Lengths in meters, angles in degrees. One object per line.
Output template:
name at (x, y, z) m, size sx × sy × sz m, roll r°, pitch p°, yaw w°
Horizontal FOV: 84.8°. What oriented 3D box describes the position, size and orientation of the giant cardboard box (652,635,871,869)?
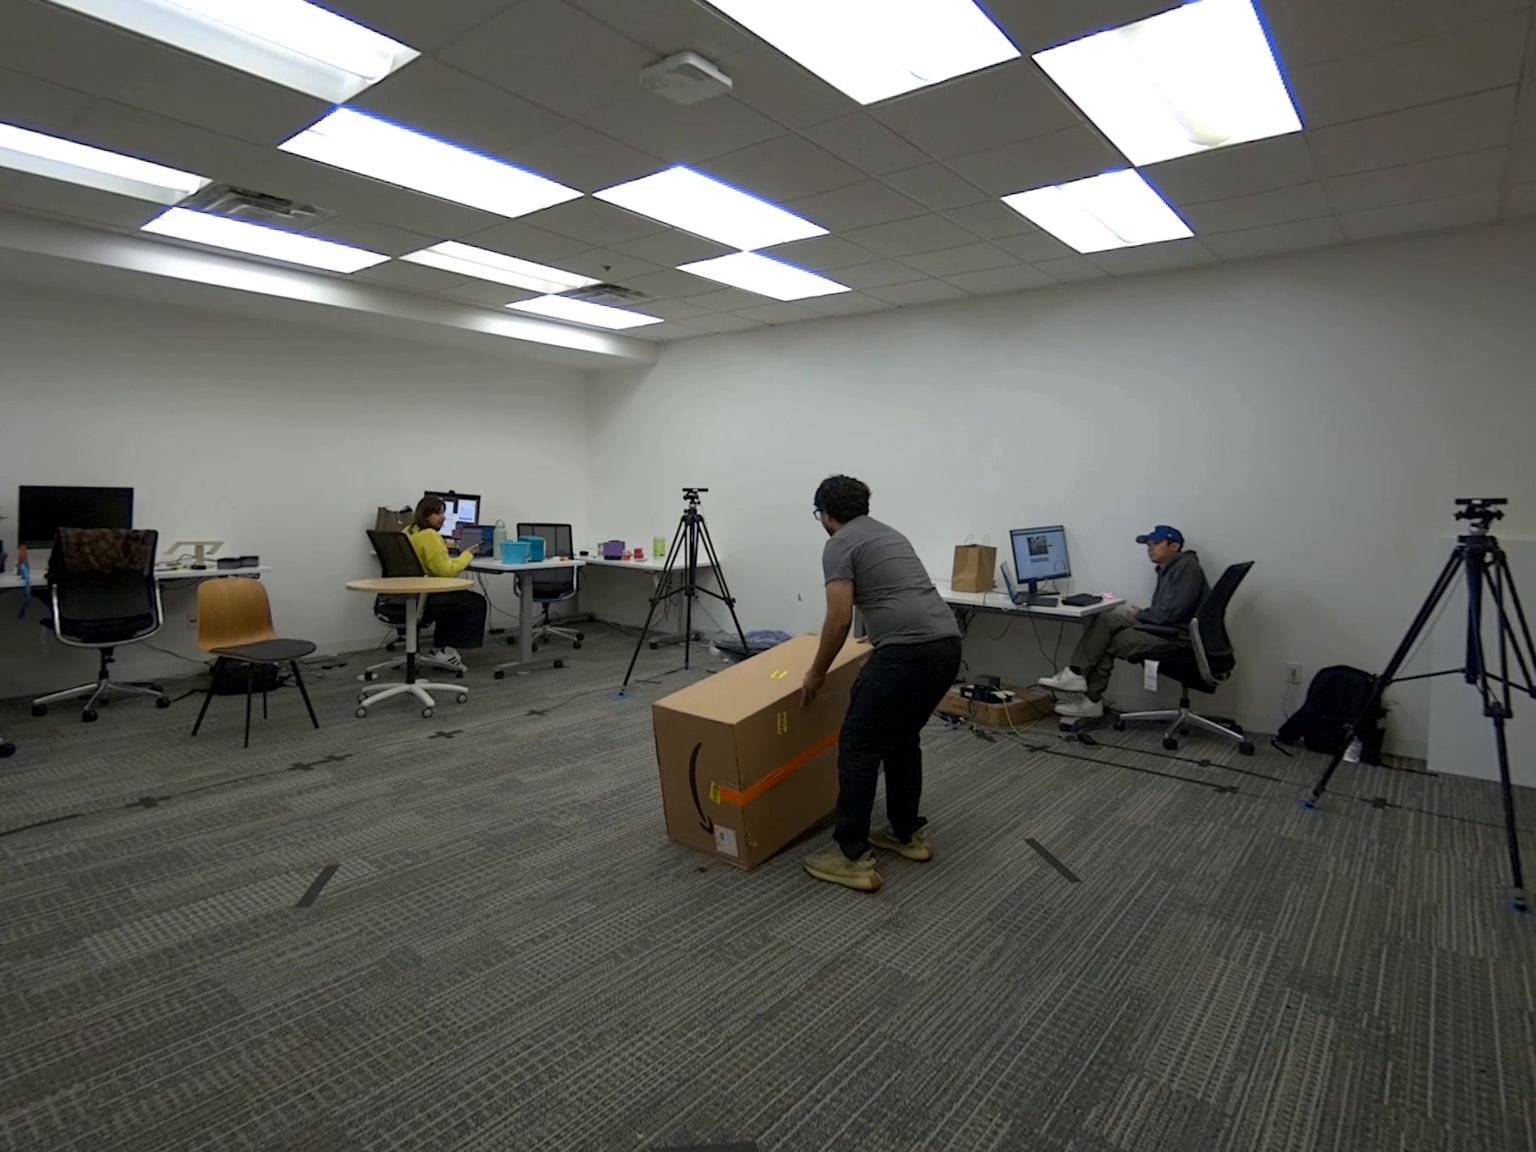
giant cardboard box at (0.043, 0.669, 3.557) m, size 0.440 × 0.571 × 1.003 m, roll 4°, pitch 15°, yaw 40°
